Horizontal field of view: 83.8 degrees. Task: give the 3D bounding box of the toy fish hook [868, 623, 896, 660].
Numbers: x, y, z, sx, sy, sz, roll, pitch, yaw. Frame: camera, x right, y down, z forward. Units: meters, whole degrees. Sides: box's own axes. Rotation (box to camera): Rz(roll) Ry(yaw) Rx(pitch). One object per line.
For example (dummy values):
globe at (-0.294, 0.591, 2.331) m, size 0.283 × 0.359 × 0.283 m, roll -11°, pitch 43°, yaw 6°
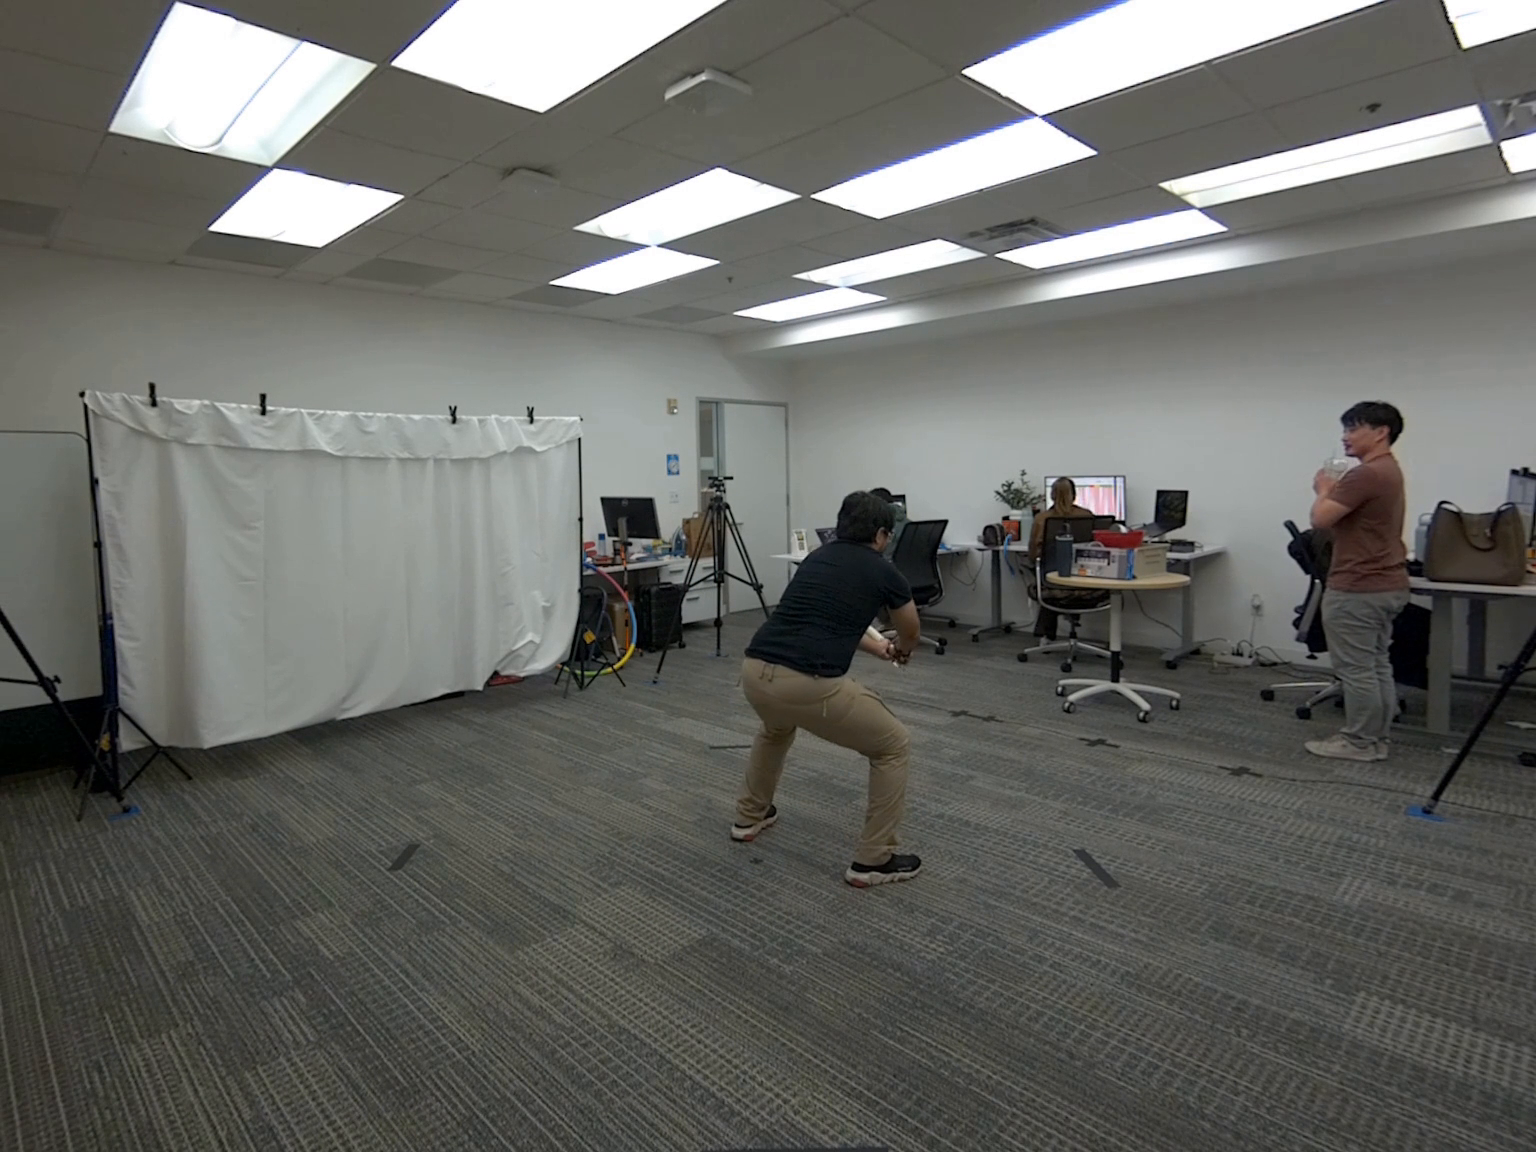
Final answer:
toy fish hook at (0.533, 0.325, 3.719) m, size 0.048 × 0.221 × 0.514 m, roll -41°, pitch 12°, yaw 2°
